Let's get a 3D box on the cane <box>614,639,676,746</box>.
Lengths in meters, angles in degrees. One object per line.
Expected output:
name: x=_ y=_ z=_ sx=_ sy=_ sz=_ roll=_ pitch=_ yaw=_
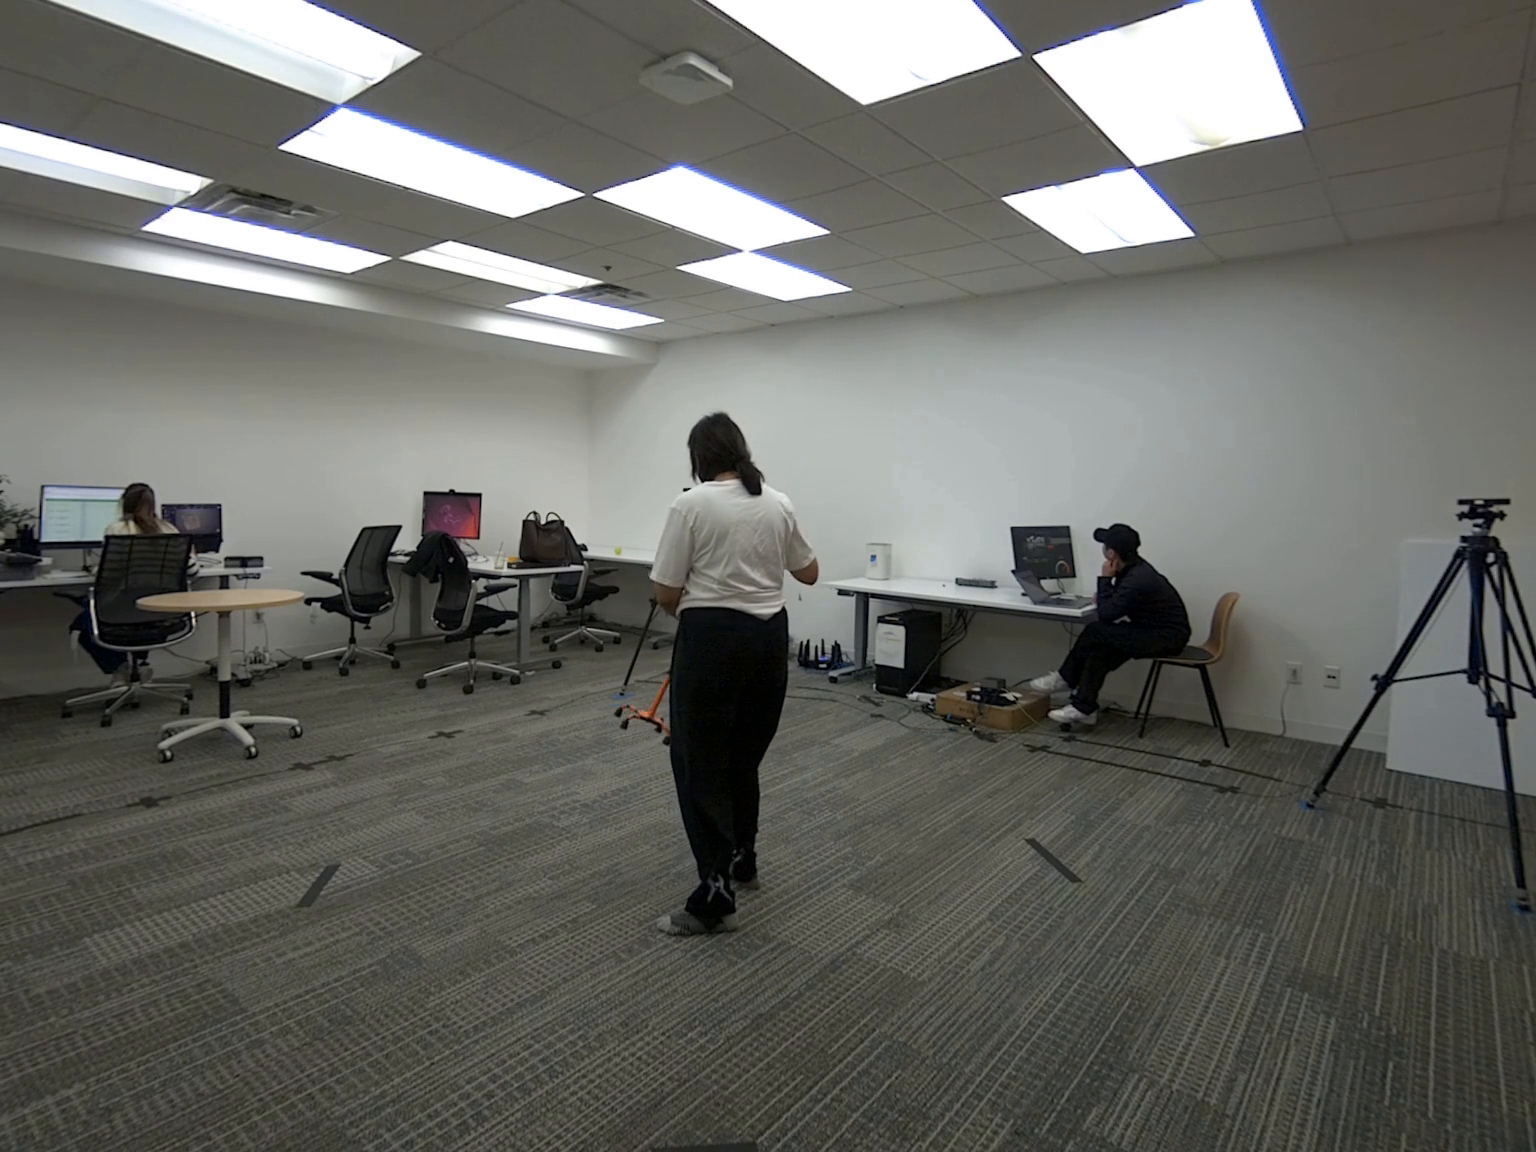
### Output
cane: x=-0.280 y=0.168 z=3.150 sx=0.201 sy=0.908 sz=0.156 roll=25 pitch=0 yaw=-21
